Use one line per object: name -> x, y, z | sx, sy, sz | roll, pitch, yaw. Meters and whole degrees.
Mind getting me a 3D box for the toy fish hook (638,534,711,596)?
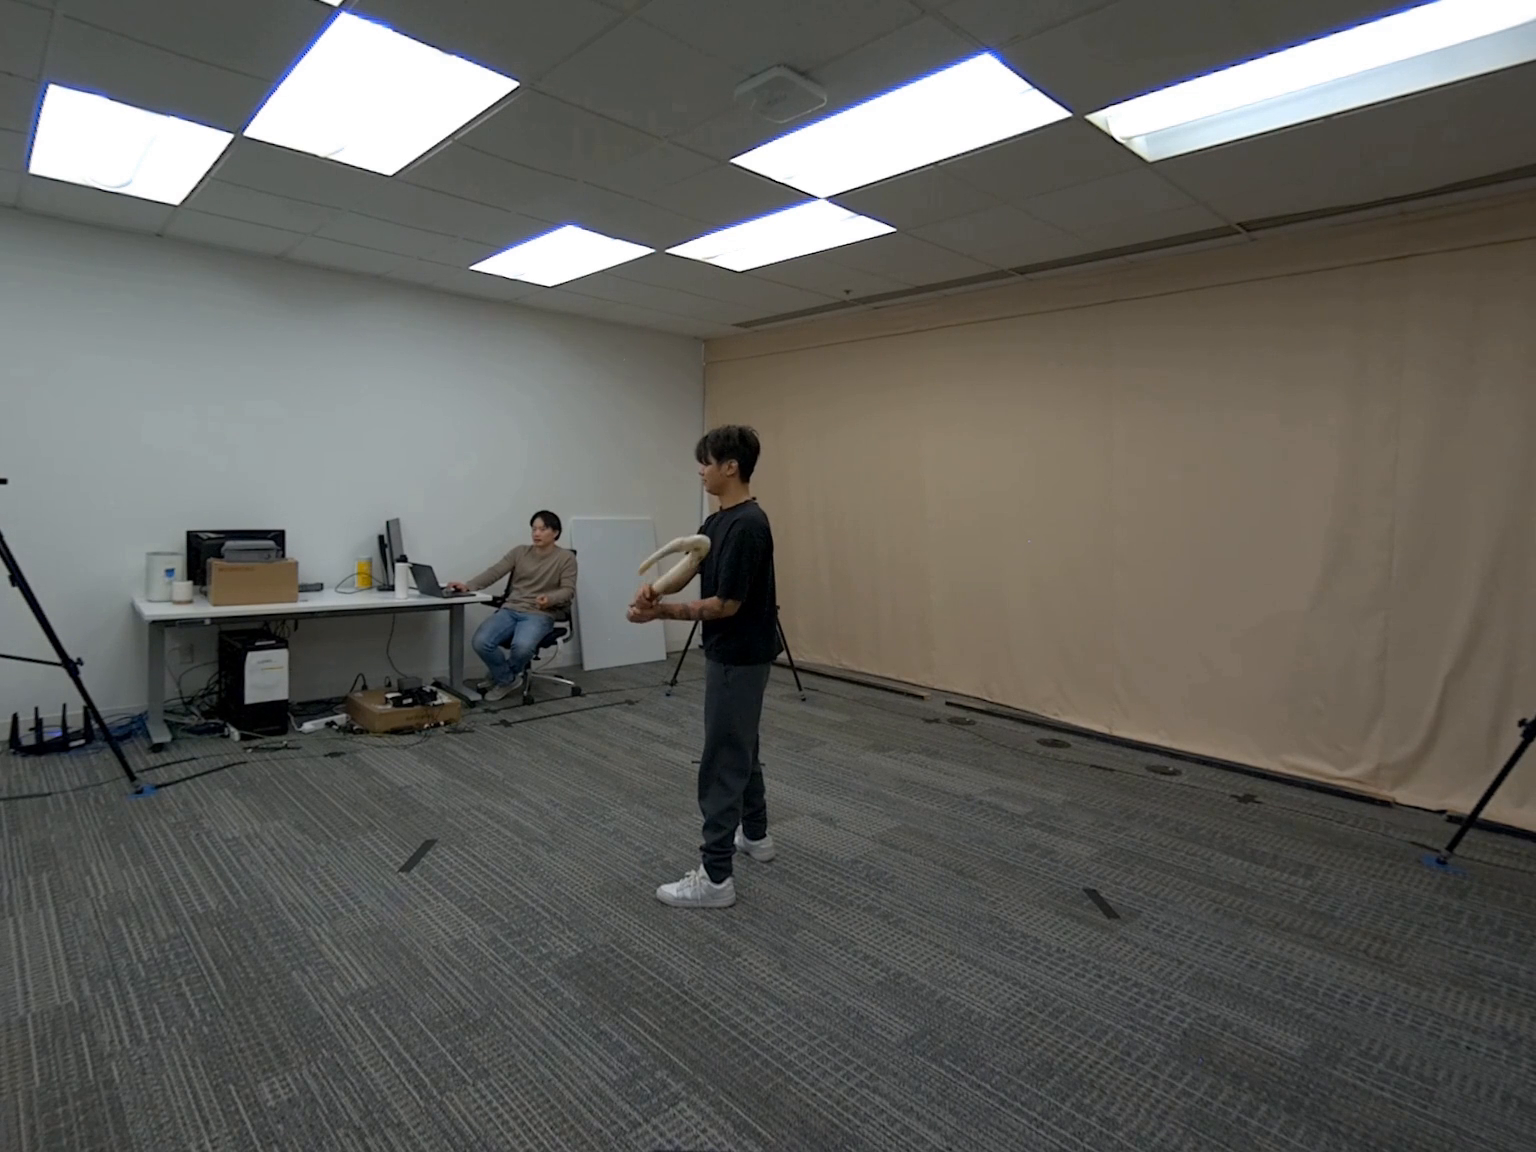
toy fish hook -> -0.405, 0.028, 2.660 | 0.219, 0.049, 0.507 | -3, -30, -42
